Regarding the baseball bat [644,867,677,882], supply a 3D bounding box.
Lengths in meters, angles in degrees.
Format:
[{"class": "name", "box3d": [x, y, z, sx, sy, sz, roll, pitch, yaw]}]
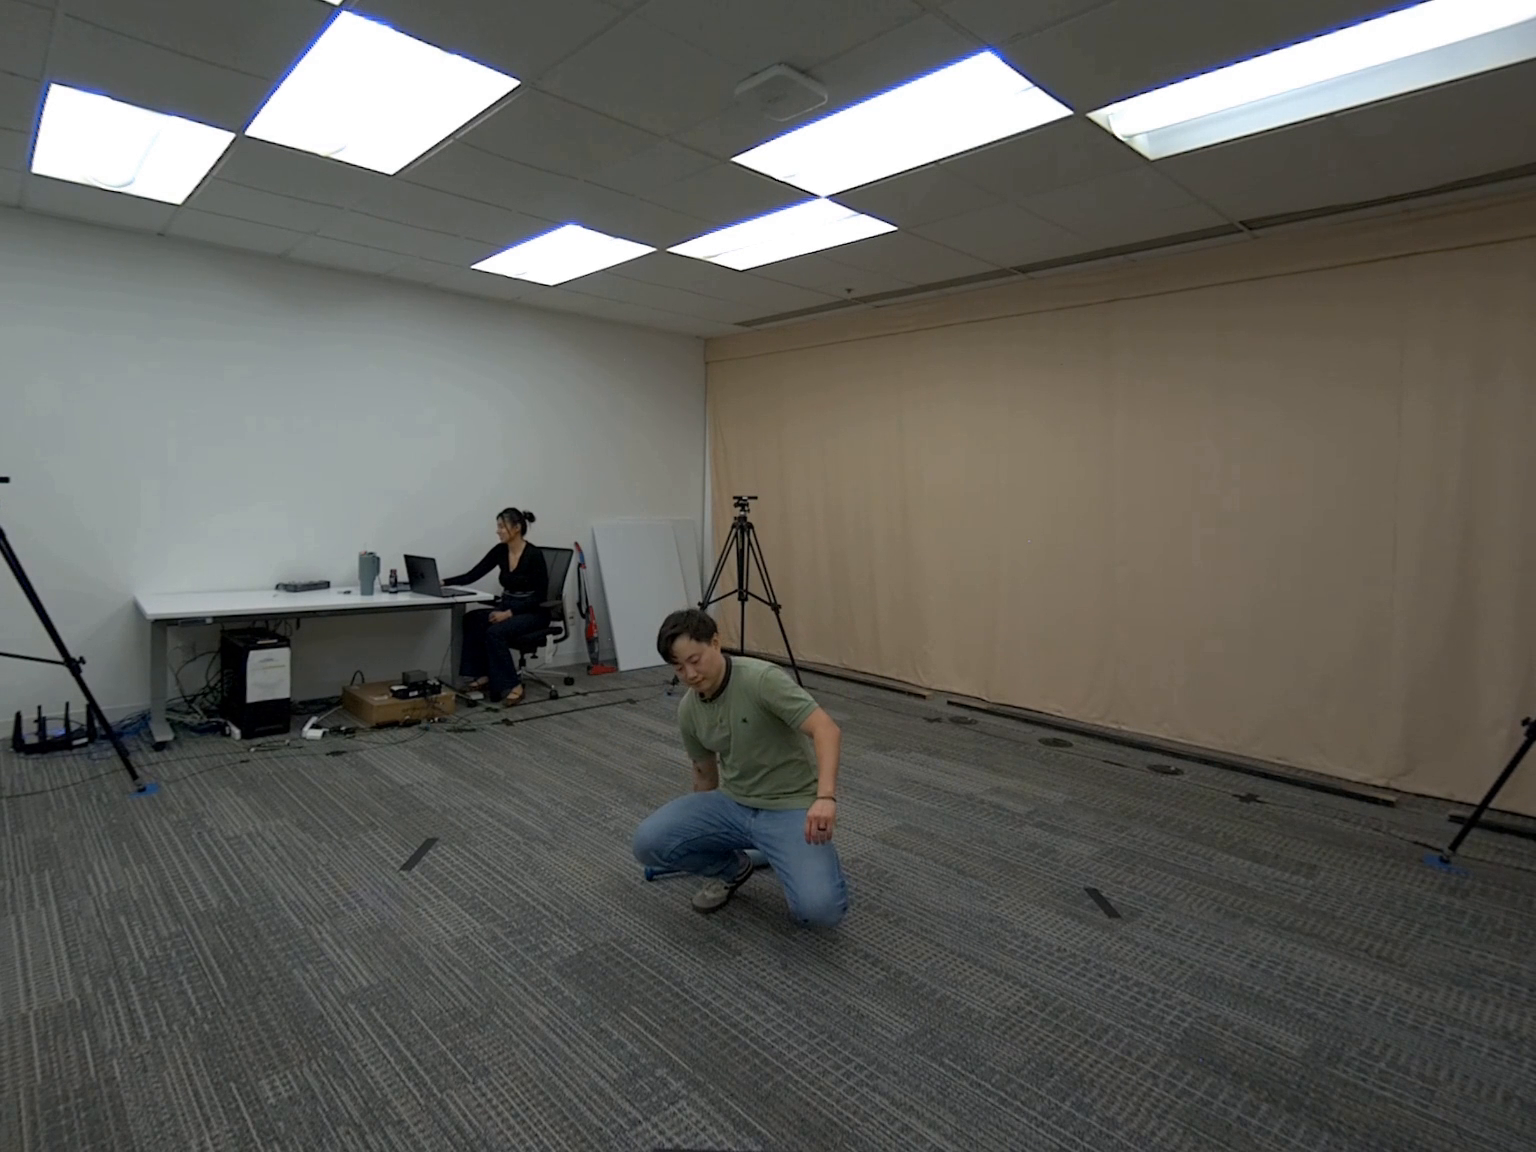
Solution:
[{"class": "baseball bat", "box3d": [-0.191, 1.064, 3.128, 0.536, 0.089, 0.090, -5, 6, -19]}]
